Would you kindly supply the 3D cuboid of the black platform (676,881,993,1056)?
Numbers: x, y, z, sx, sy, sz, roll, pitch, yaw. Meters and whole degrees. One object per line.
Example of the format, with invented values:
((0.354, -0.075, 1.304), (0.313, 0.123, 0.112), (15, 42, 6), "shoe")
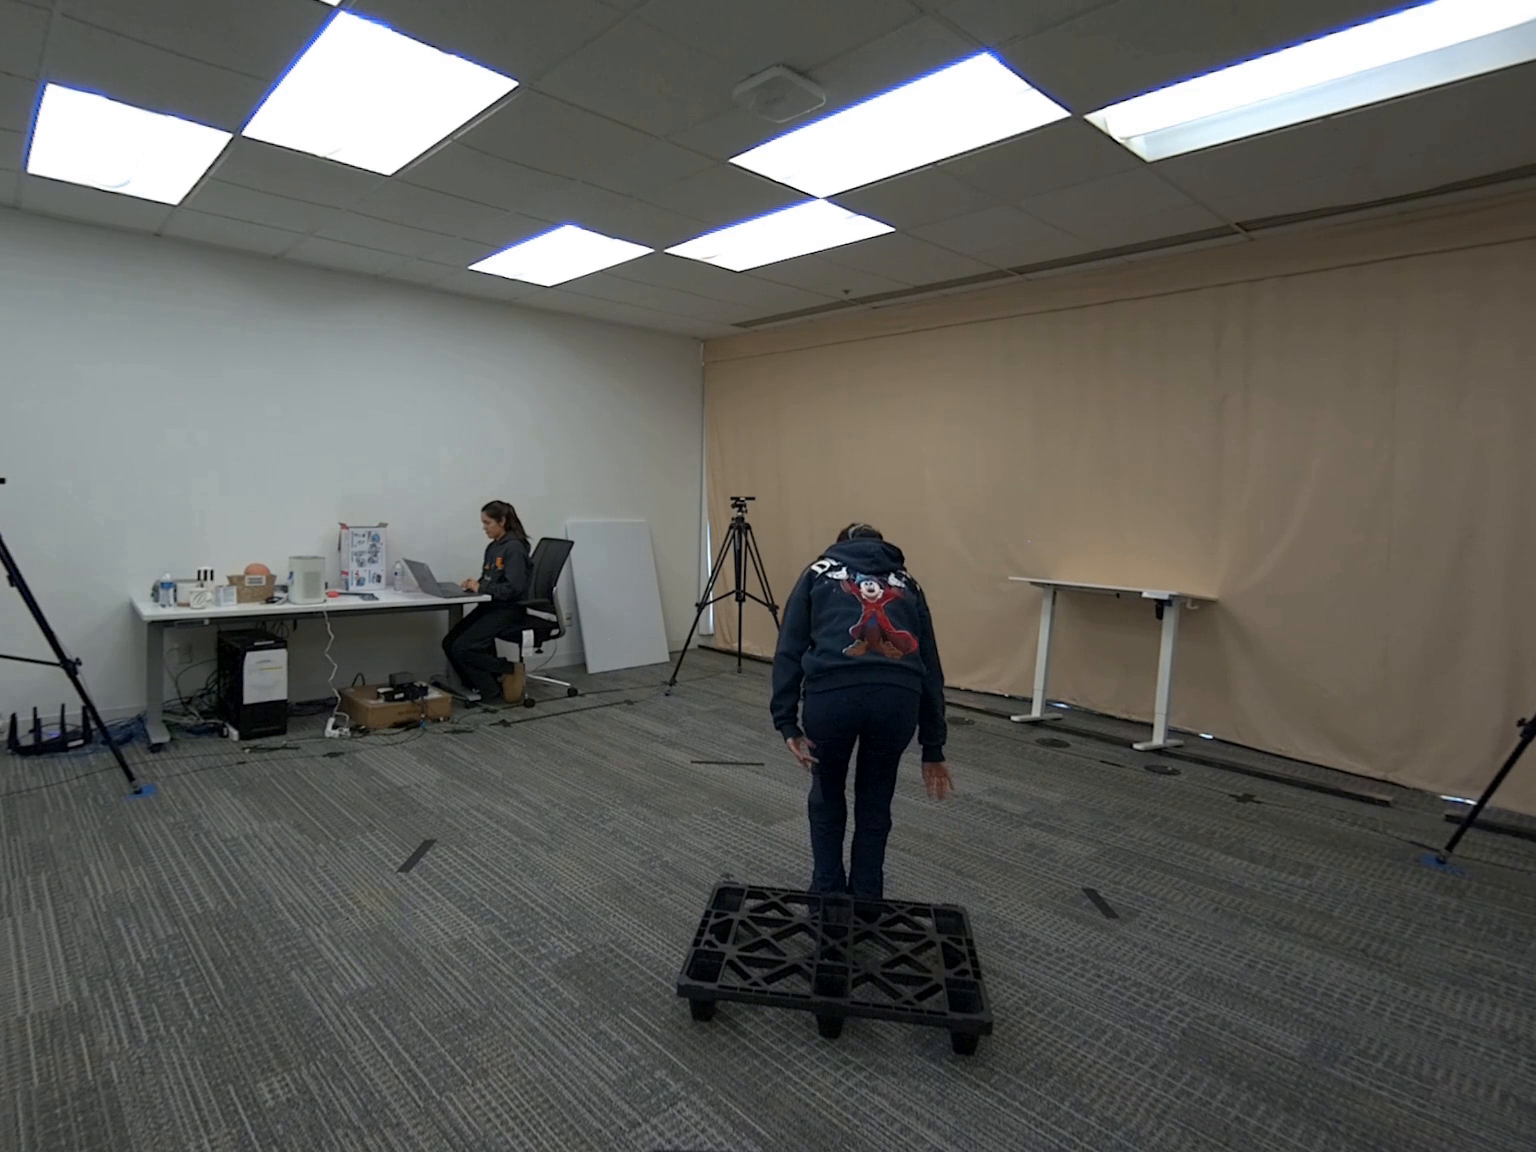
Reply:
((0.189, 1.113, 2.407), (0.811, 0.143, 0.603), (2, 6, 7), "black platform")
